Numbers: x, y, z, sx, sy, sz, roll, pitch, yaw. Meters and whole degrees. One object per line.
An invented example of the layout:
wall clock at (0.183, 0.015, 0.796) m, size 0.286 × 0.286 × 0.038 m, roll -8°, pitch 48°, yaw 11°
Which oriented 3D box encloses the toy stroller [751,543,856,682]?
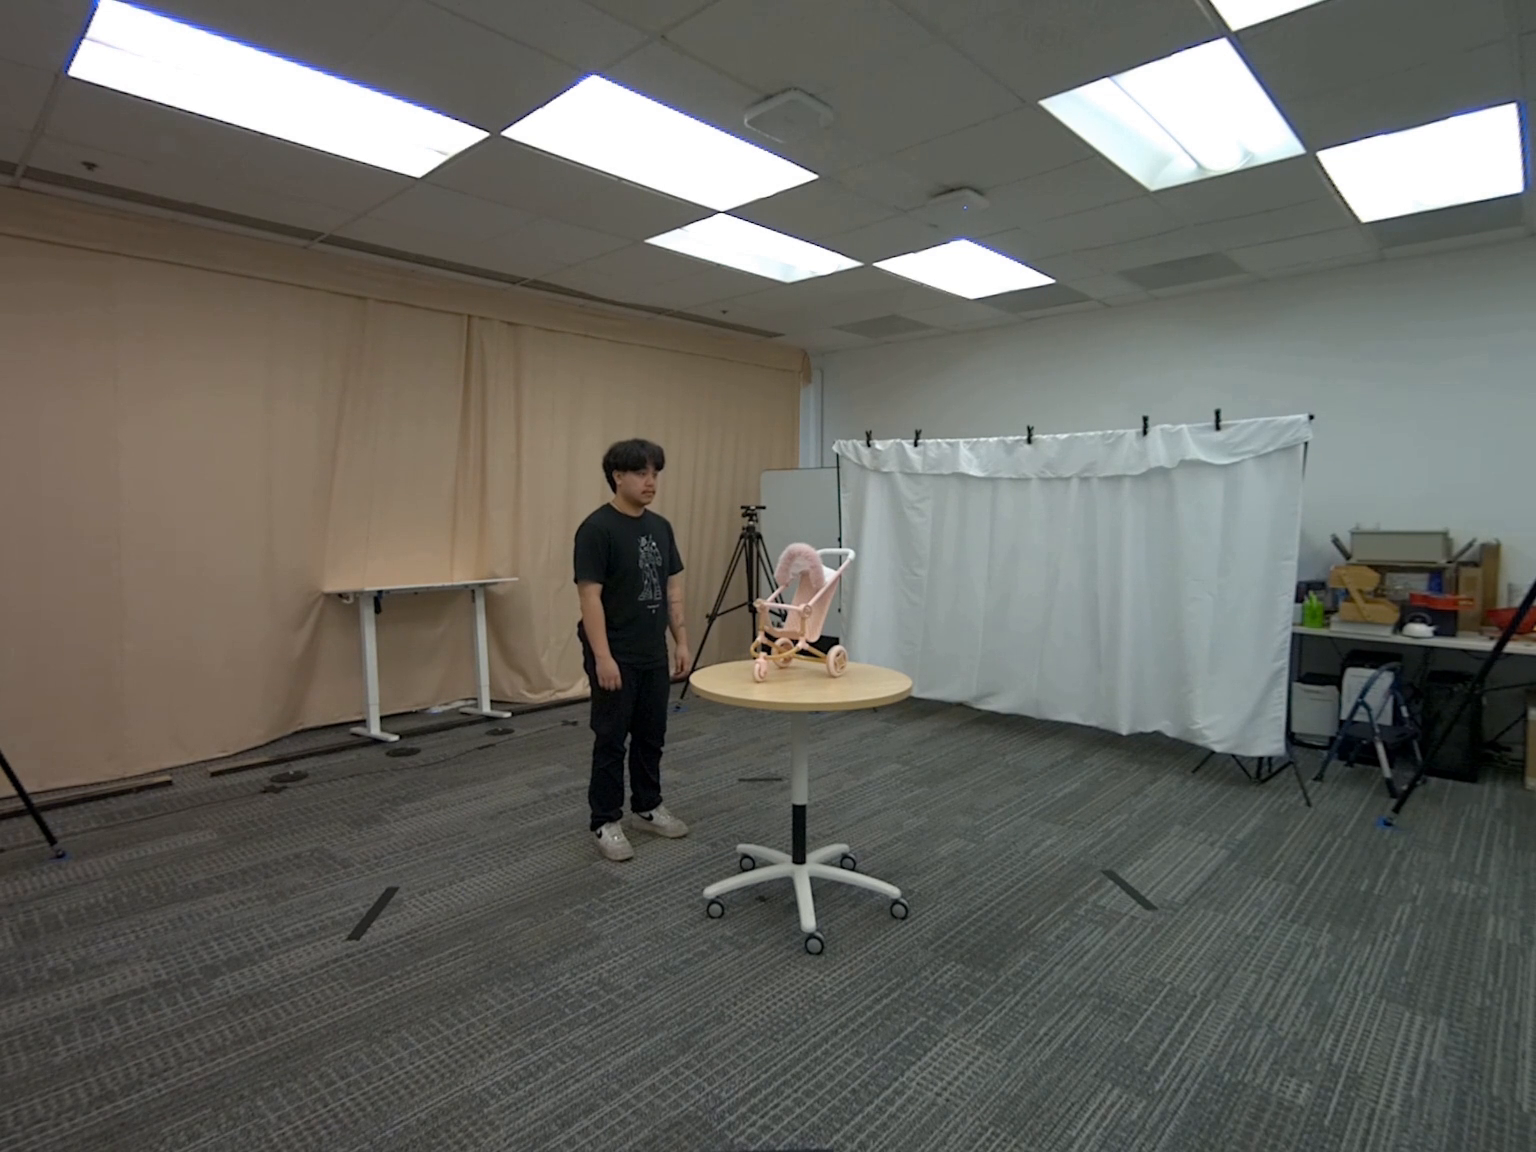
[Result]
toy stroller at (0.111, 0.126, 2.979) m, size 0.329 × 0.536 × 0.291 m, roll 17°, pitch -10°, yaw -41°
